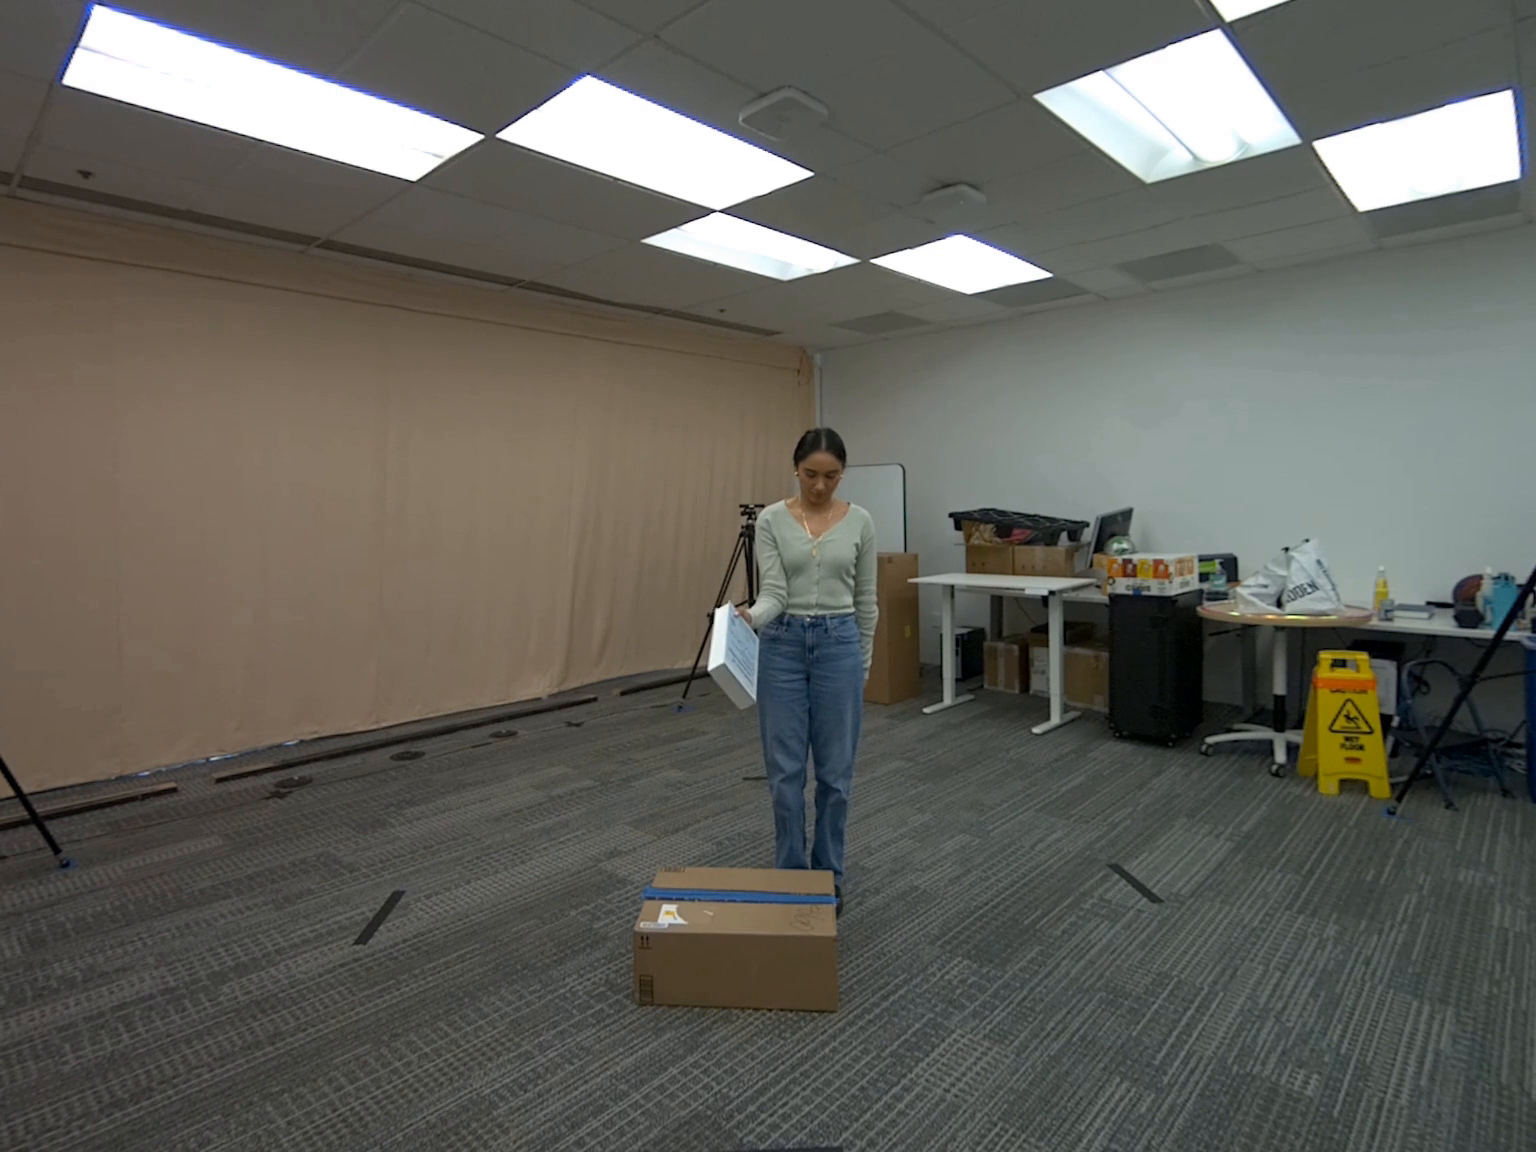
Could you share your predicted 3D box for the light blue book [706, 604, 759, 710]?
[{"bbox_3d":[-0.095,0.229,2.493,0.060,0.186,0.265,-23,34,20],"label":"light blue book"}]
